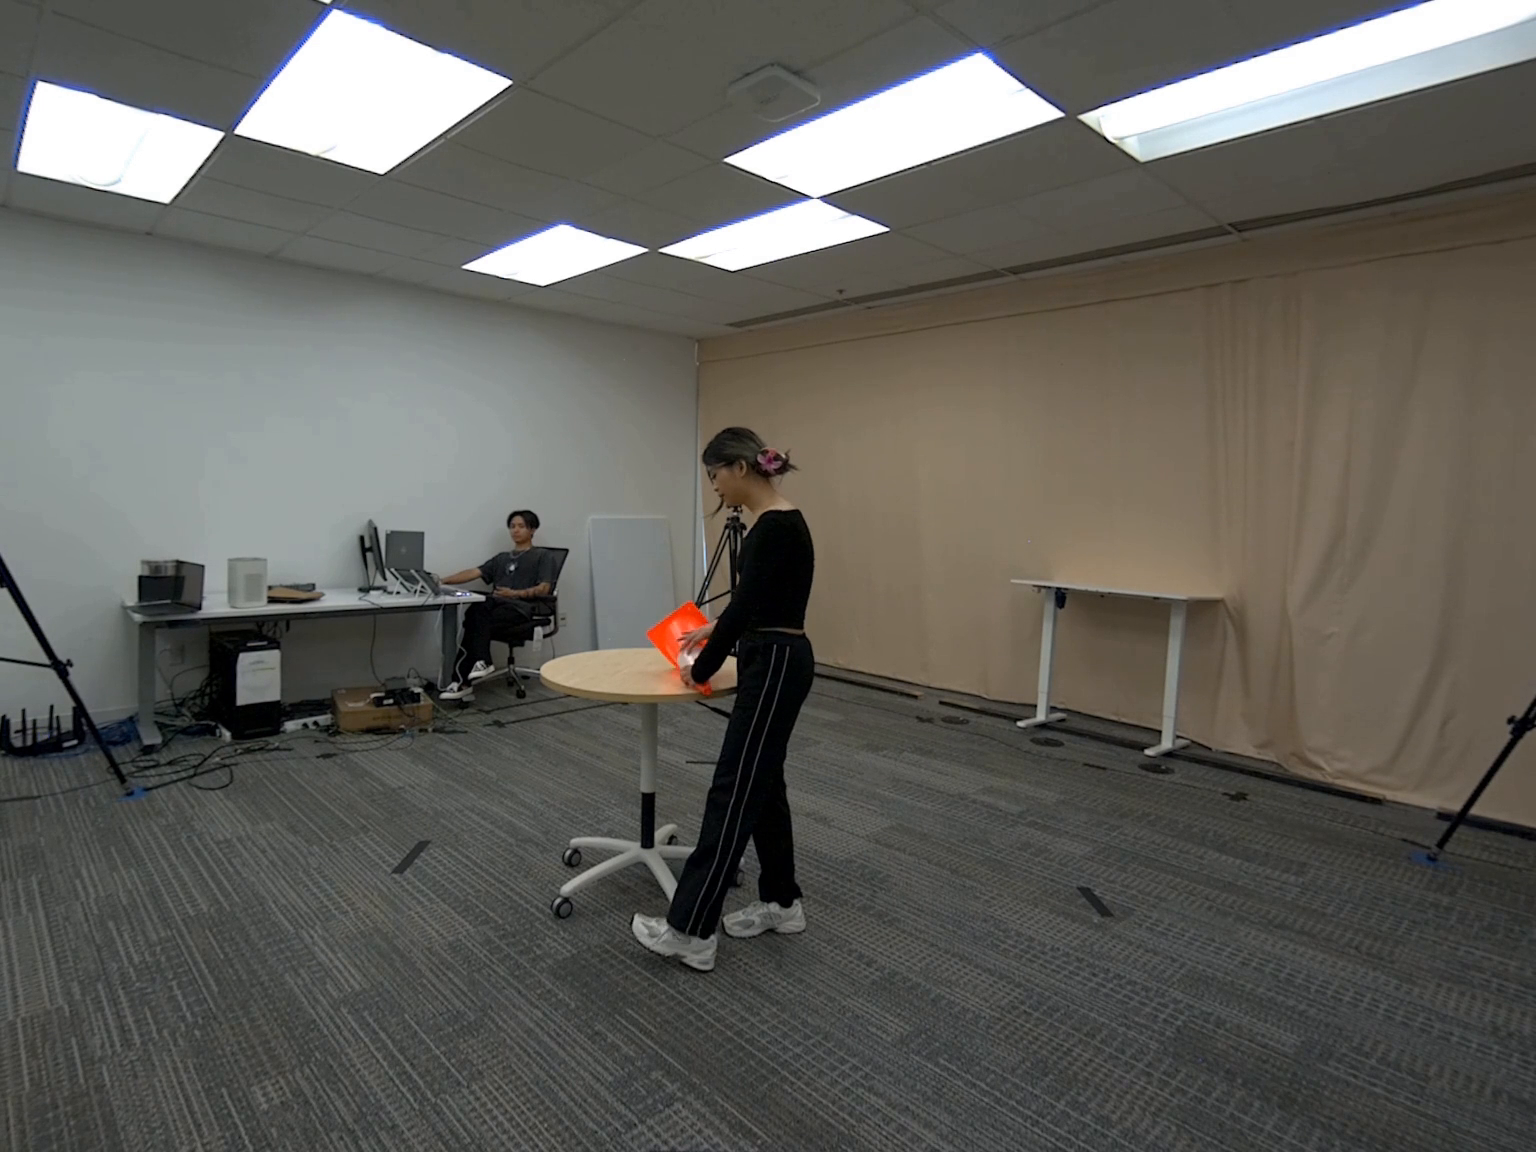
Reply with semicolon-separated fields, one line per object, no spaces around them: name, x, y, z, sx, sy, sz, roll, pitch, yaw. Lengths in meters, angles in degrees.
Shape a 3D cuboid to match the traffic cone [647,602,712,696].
traffic cone;-0.259;0.286;2.780;0.203;0.200;0.393;-39;26;5
